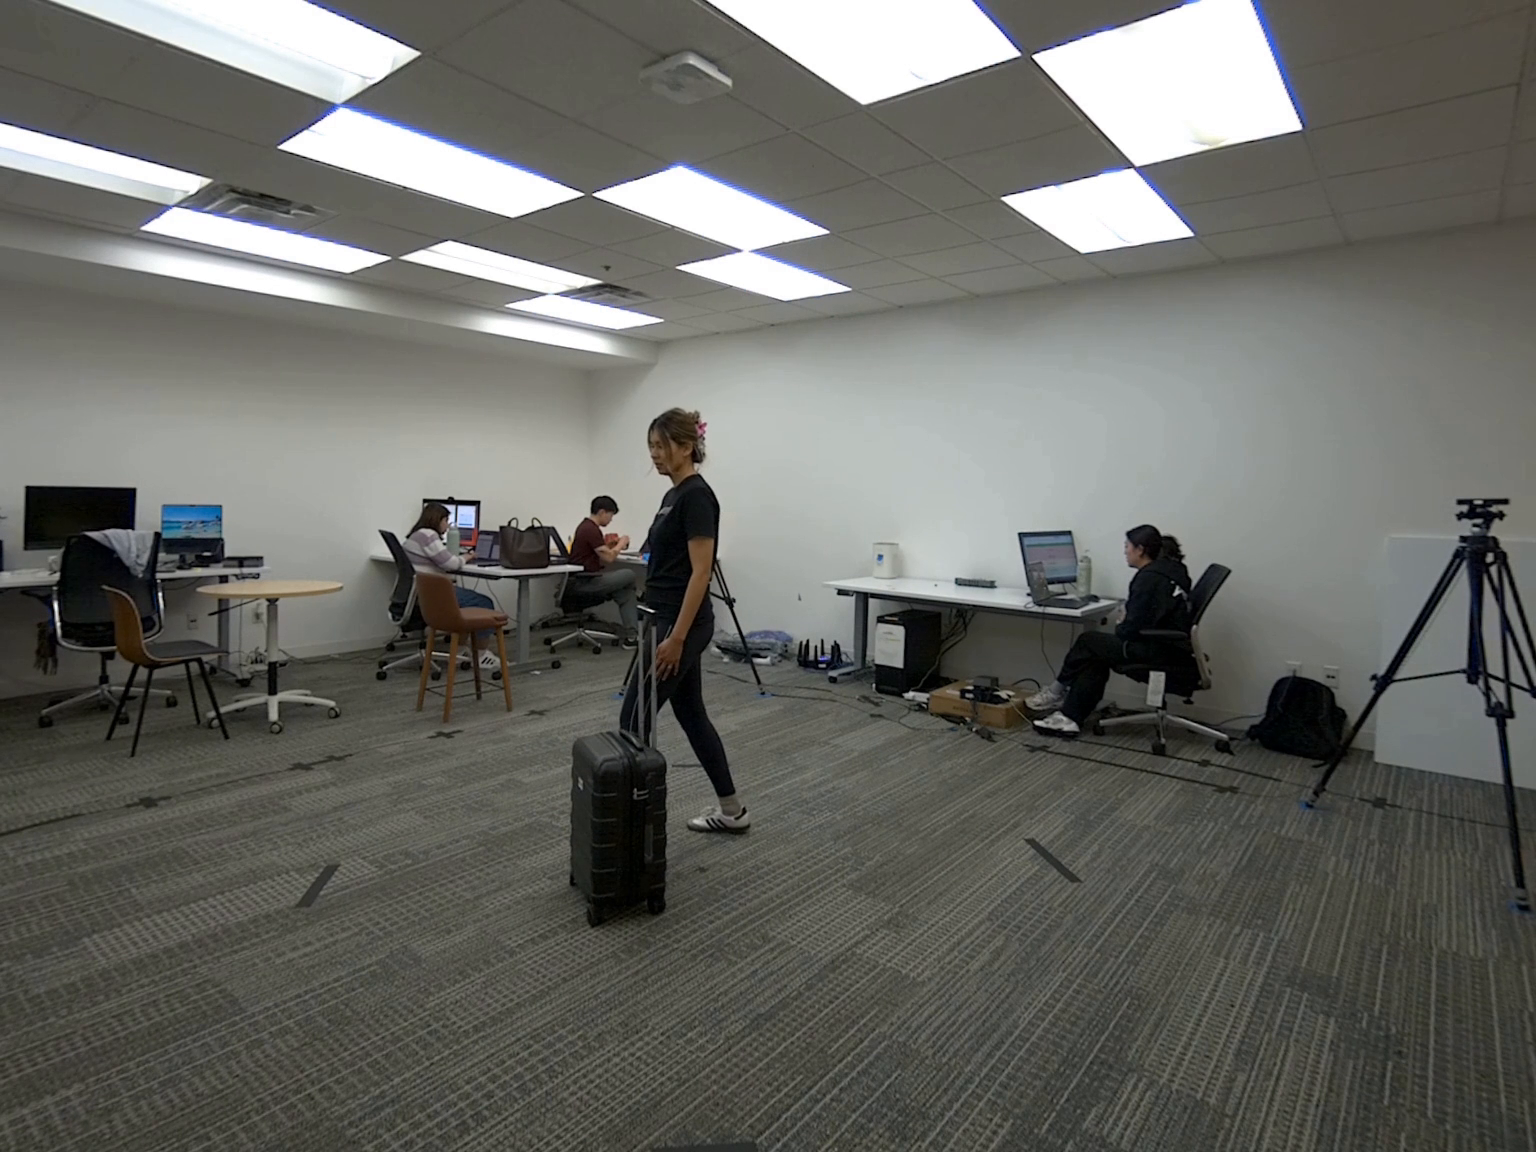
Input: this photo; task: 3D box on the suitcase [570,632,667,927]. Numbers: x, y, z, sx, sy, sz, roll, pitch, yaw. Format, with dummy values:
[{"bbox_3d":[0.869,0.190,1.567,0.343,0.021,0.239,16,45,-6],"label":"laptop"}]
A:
[{"bbox_3d":[-0.519,0.613,2.834,0.251,0.976,0.393,-1,3,-23],"label":"suitcase"}]
